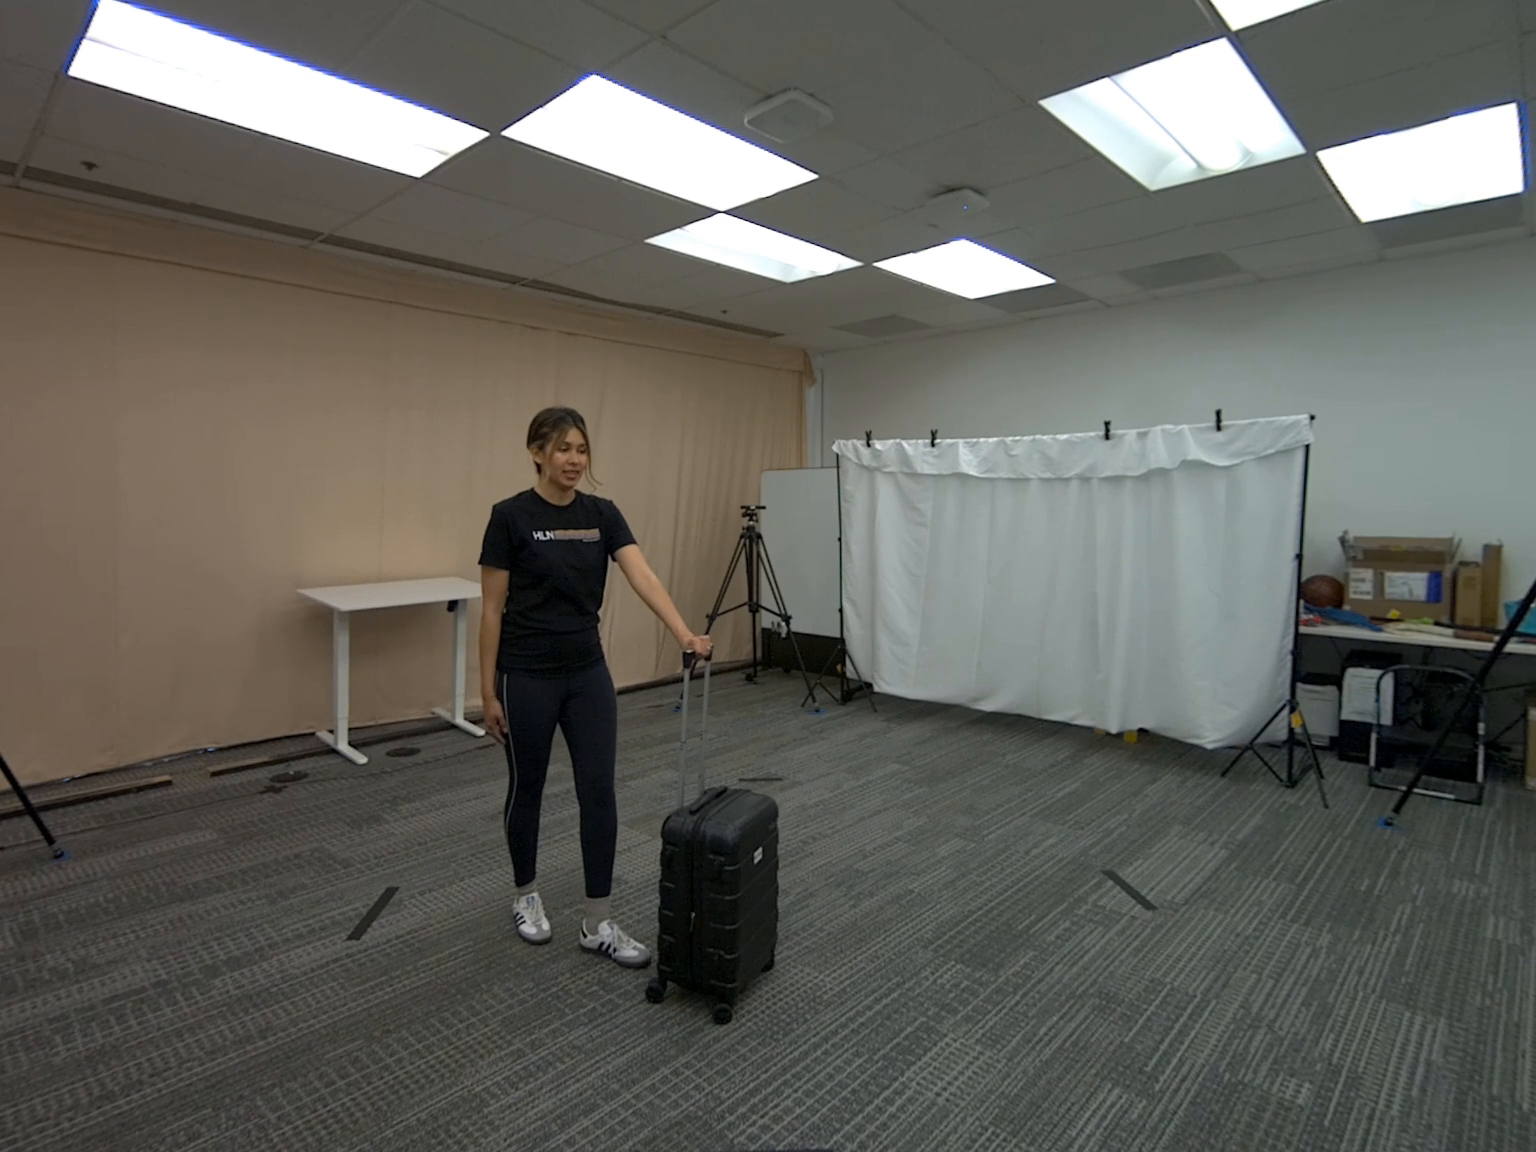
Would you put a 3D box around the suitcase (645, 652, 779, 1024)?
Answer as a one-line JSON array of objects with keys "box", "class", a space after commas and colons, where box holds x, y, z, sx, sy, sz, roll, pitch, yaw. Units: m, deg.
[{"box": [-0.116, 0.716, 2.421, 0.264, 0.976, 0.375, 5, 4, 23], "class": "suitcase"}]
